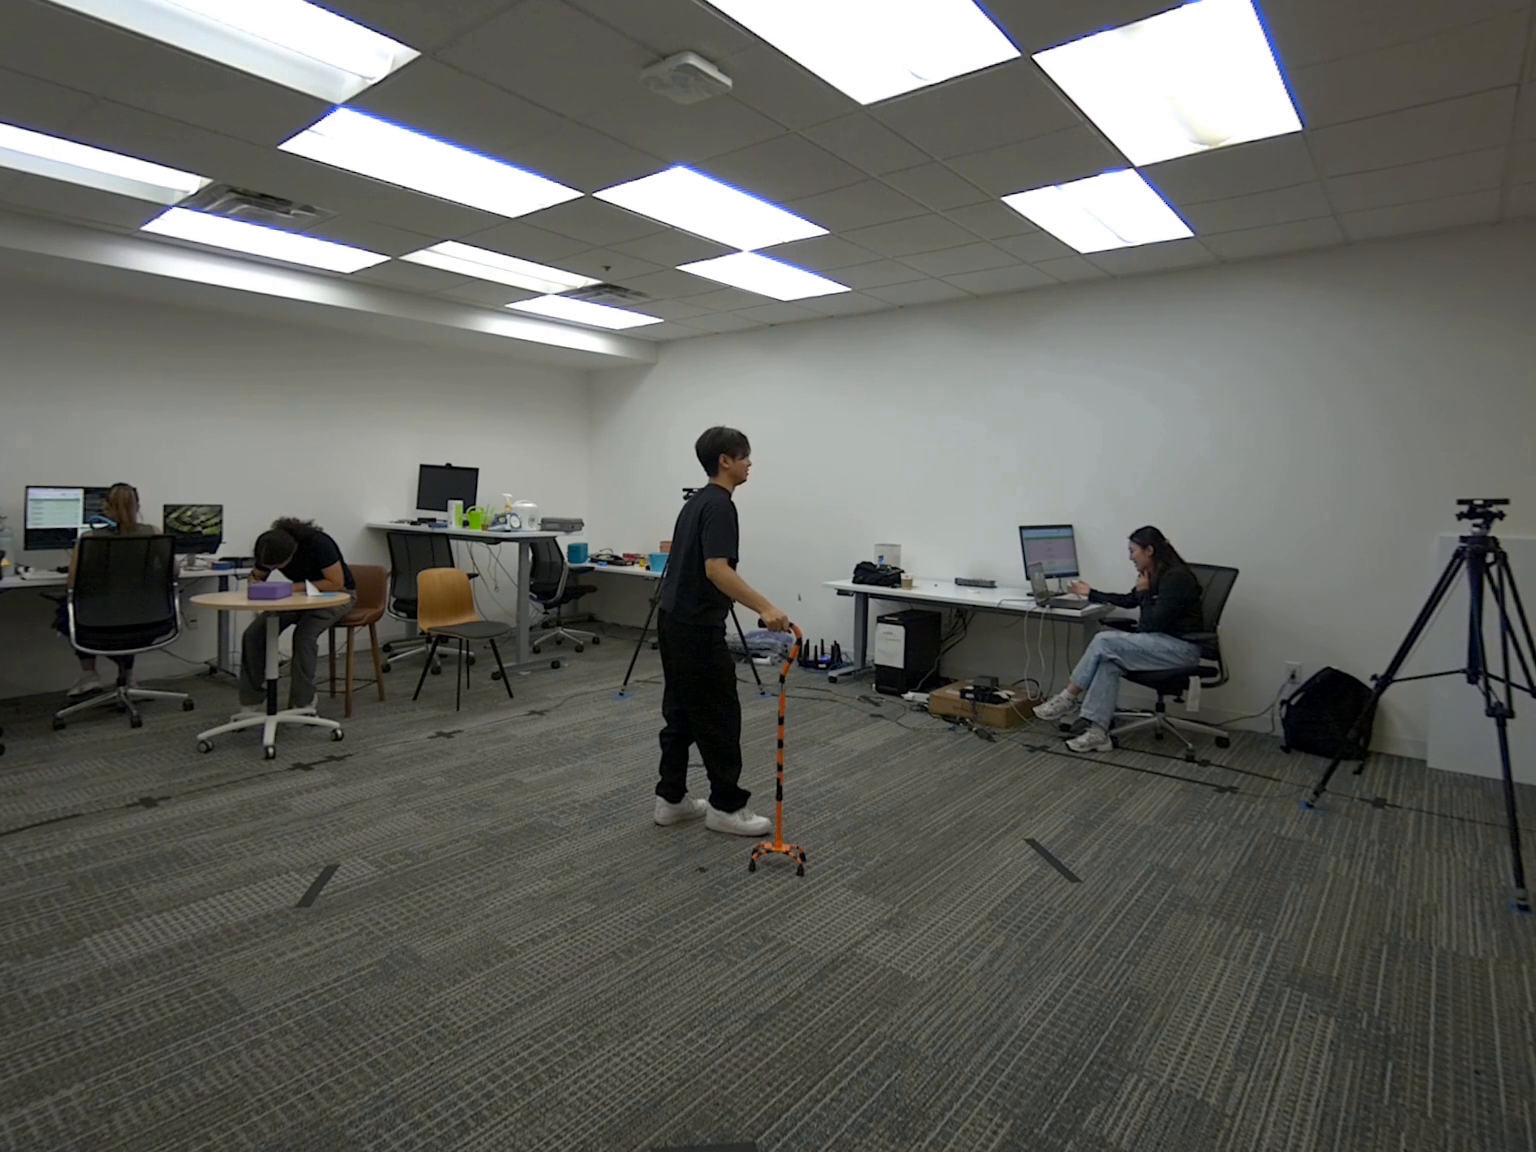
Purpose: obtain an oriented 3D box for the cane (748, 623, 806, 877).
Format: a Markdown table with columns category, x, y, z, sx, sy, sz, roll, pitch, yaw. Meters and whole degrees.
| category | x | y | z | sx | sy | sz | roll | pitch | yaw |
| --- | --- | --- | --- | --- | --- | --- | --- | --- | --- |
| cane | 0.043 | 0.620 | 3.144 | 0.208 | 0.907 | 0.151 | 2 | 1 | 4 |
